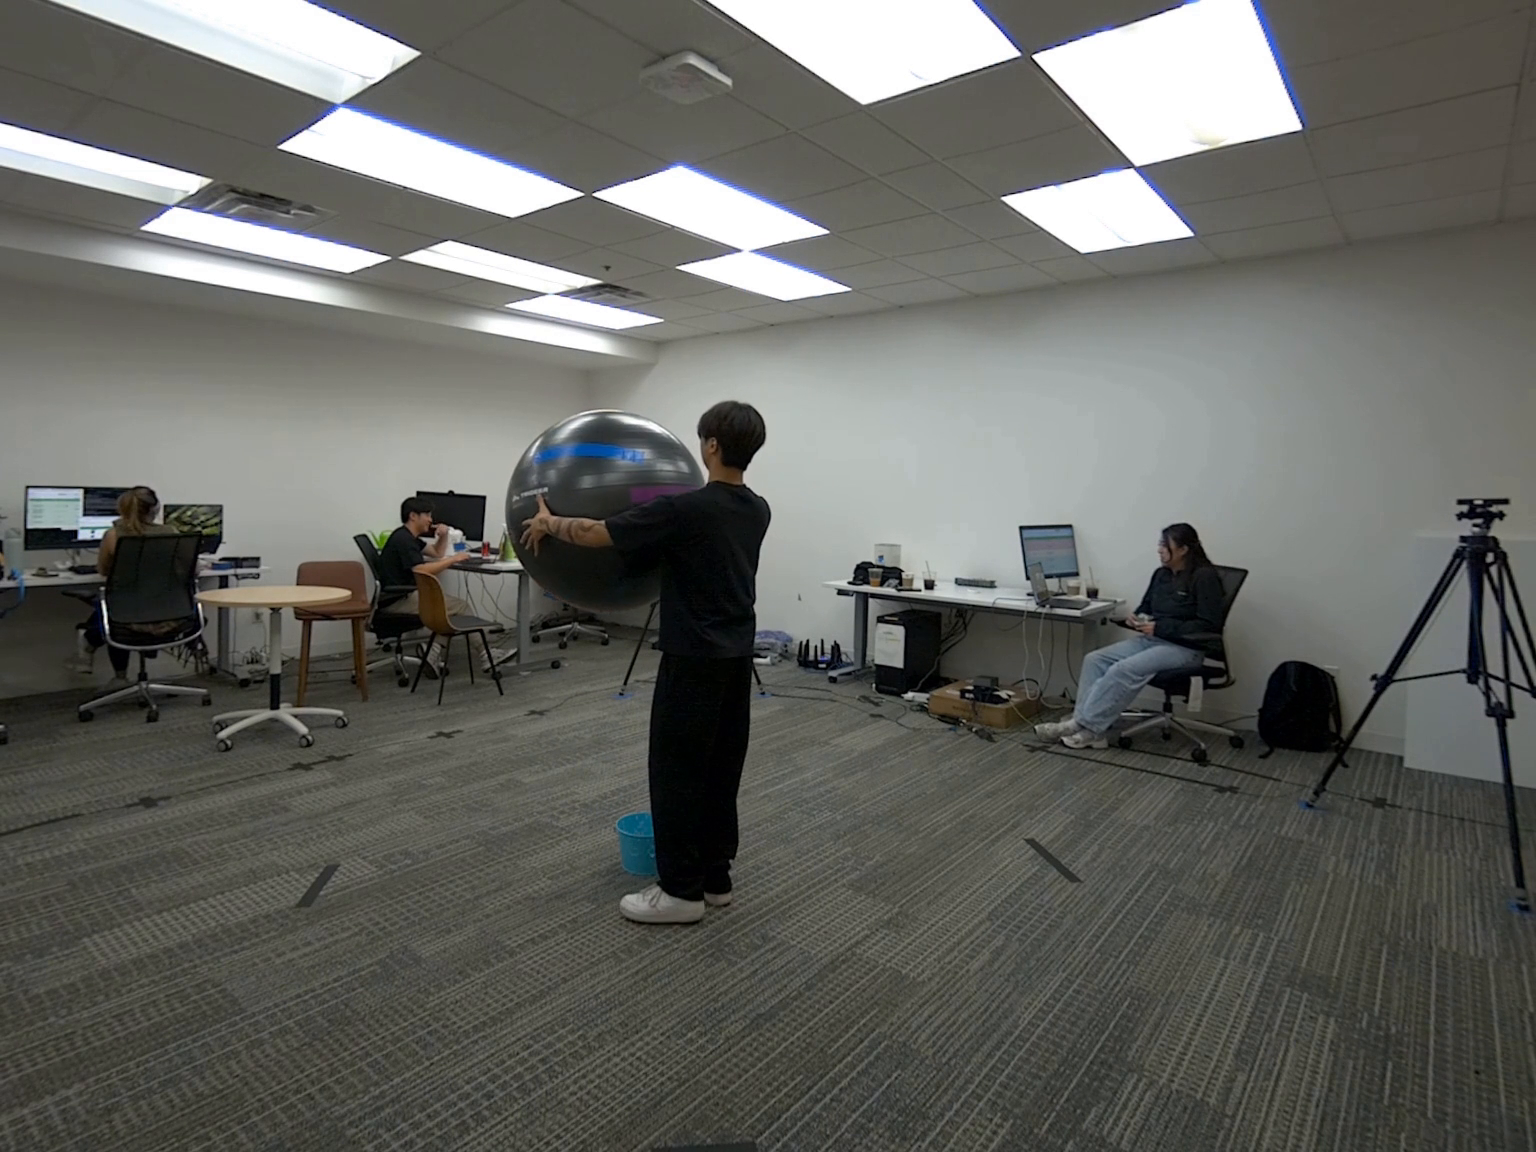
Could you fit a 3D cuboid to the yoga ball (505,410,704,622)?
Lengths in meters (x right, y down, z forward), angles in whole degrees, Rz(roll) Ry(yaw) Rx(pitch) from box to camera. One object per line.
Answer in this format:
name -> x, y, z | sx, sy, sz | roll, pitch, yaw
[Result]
yoga ball -> -0.623, -0.238, 3.219 | 0.757, 0.756, 0.761 | 1, 4, -2
